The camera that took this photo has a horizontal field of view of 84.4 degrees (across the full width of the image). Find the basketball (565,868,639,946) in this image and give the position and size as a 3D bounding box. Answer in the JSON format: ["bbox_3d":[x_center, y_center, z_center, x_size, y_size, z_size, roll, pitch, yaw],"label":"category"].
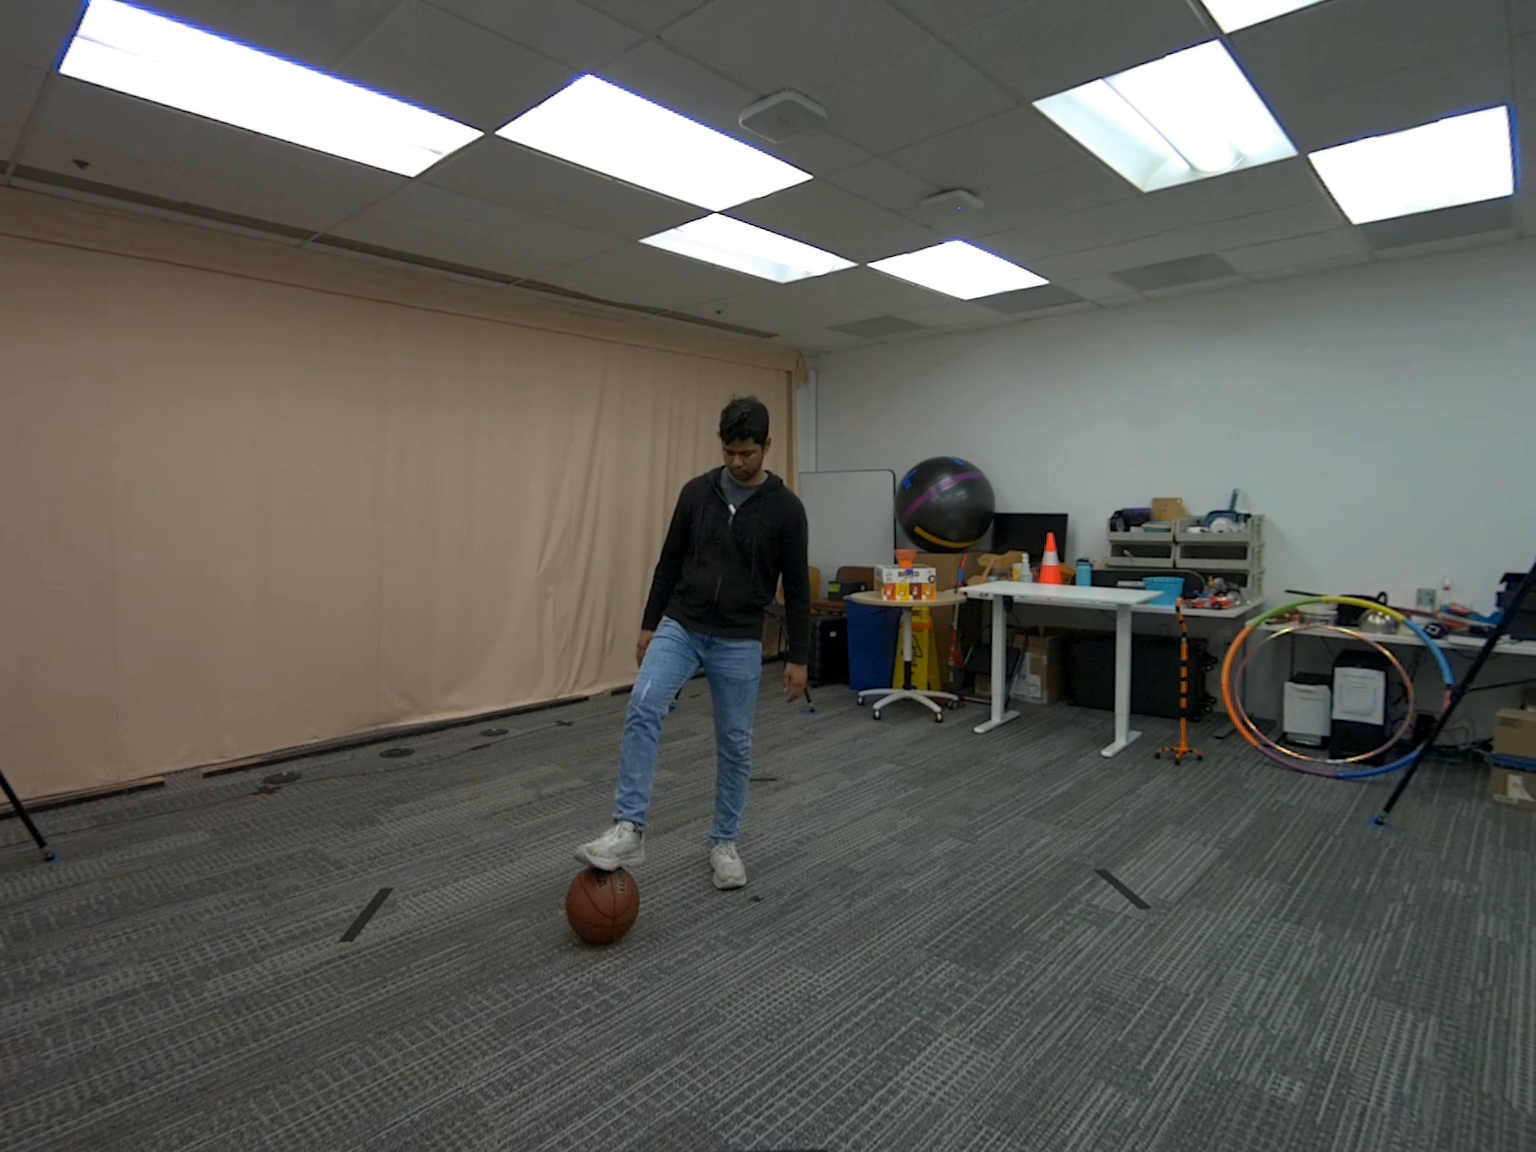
[{"bbox_3d":[-0.533,1.051,2.730,0.236,0.235,0.237,0,4,-2],"label":"basketball"}]
